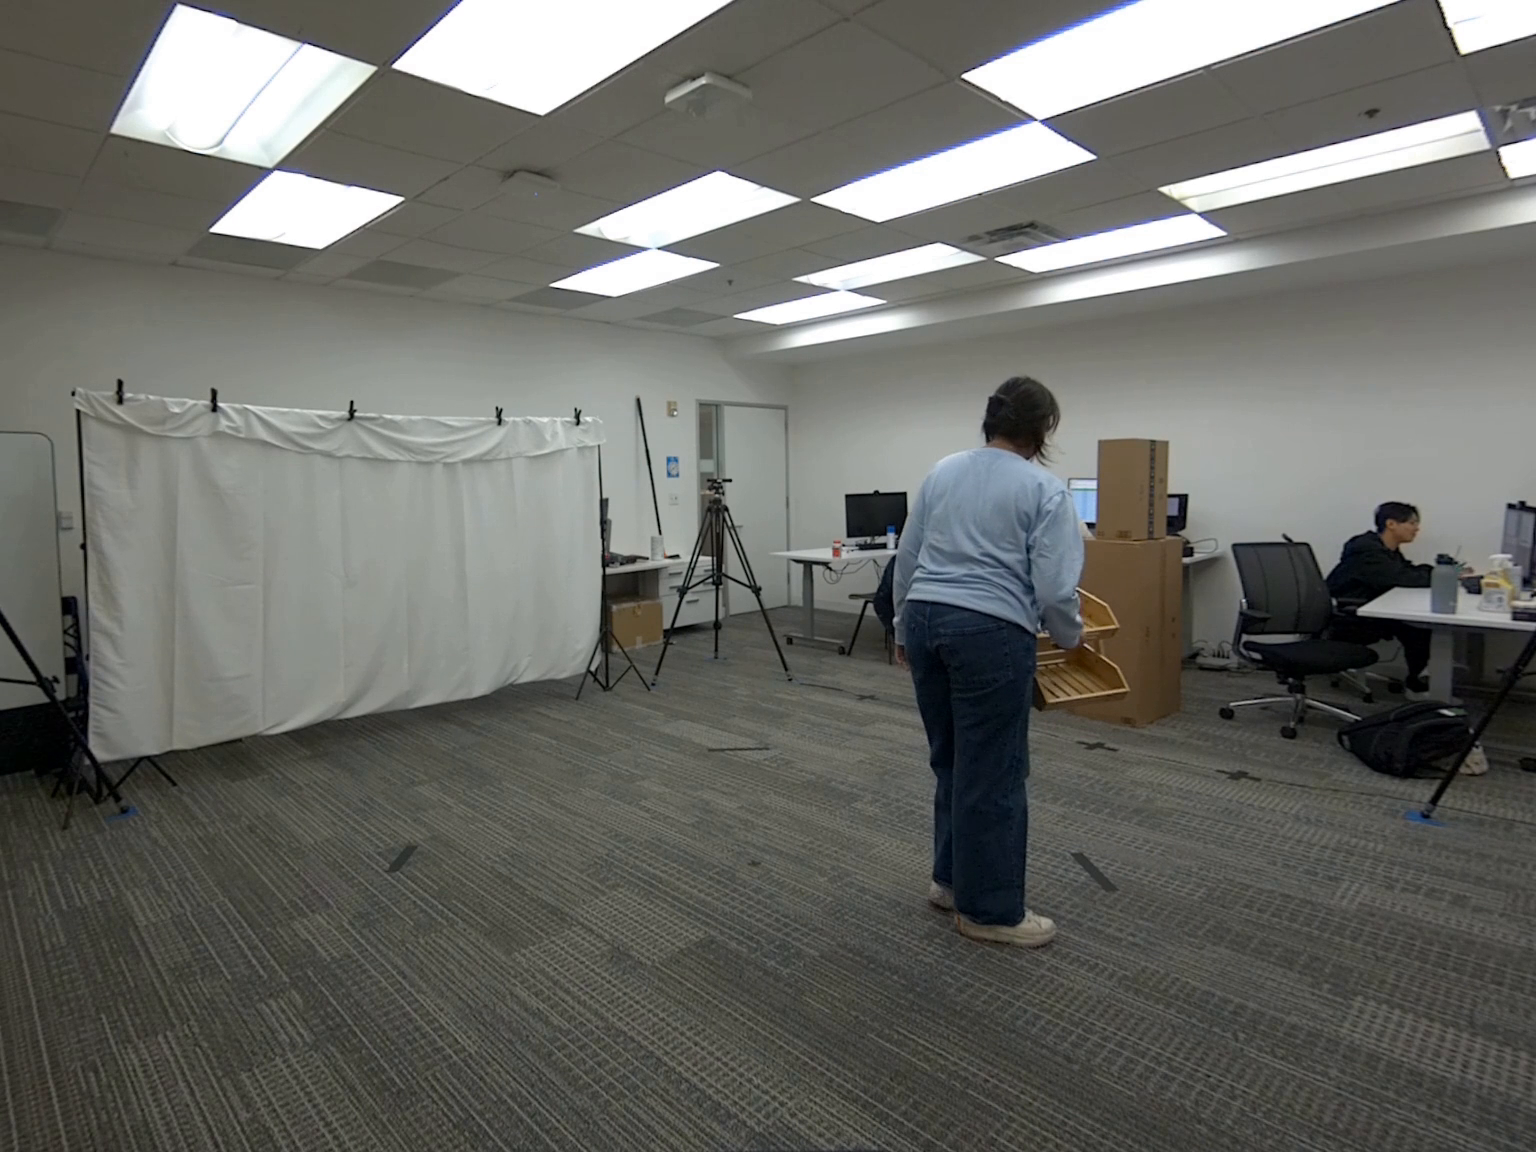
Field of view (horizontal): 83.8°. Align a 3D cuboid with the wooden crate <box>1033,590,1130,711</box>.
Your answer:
[{"bbox_3d":[0.943,0.229,2.686,0.319,0.268,0.312,-5,24,-19],"label":"wooden crate"}]
